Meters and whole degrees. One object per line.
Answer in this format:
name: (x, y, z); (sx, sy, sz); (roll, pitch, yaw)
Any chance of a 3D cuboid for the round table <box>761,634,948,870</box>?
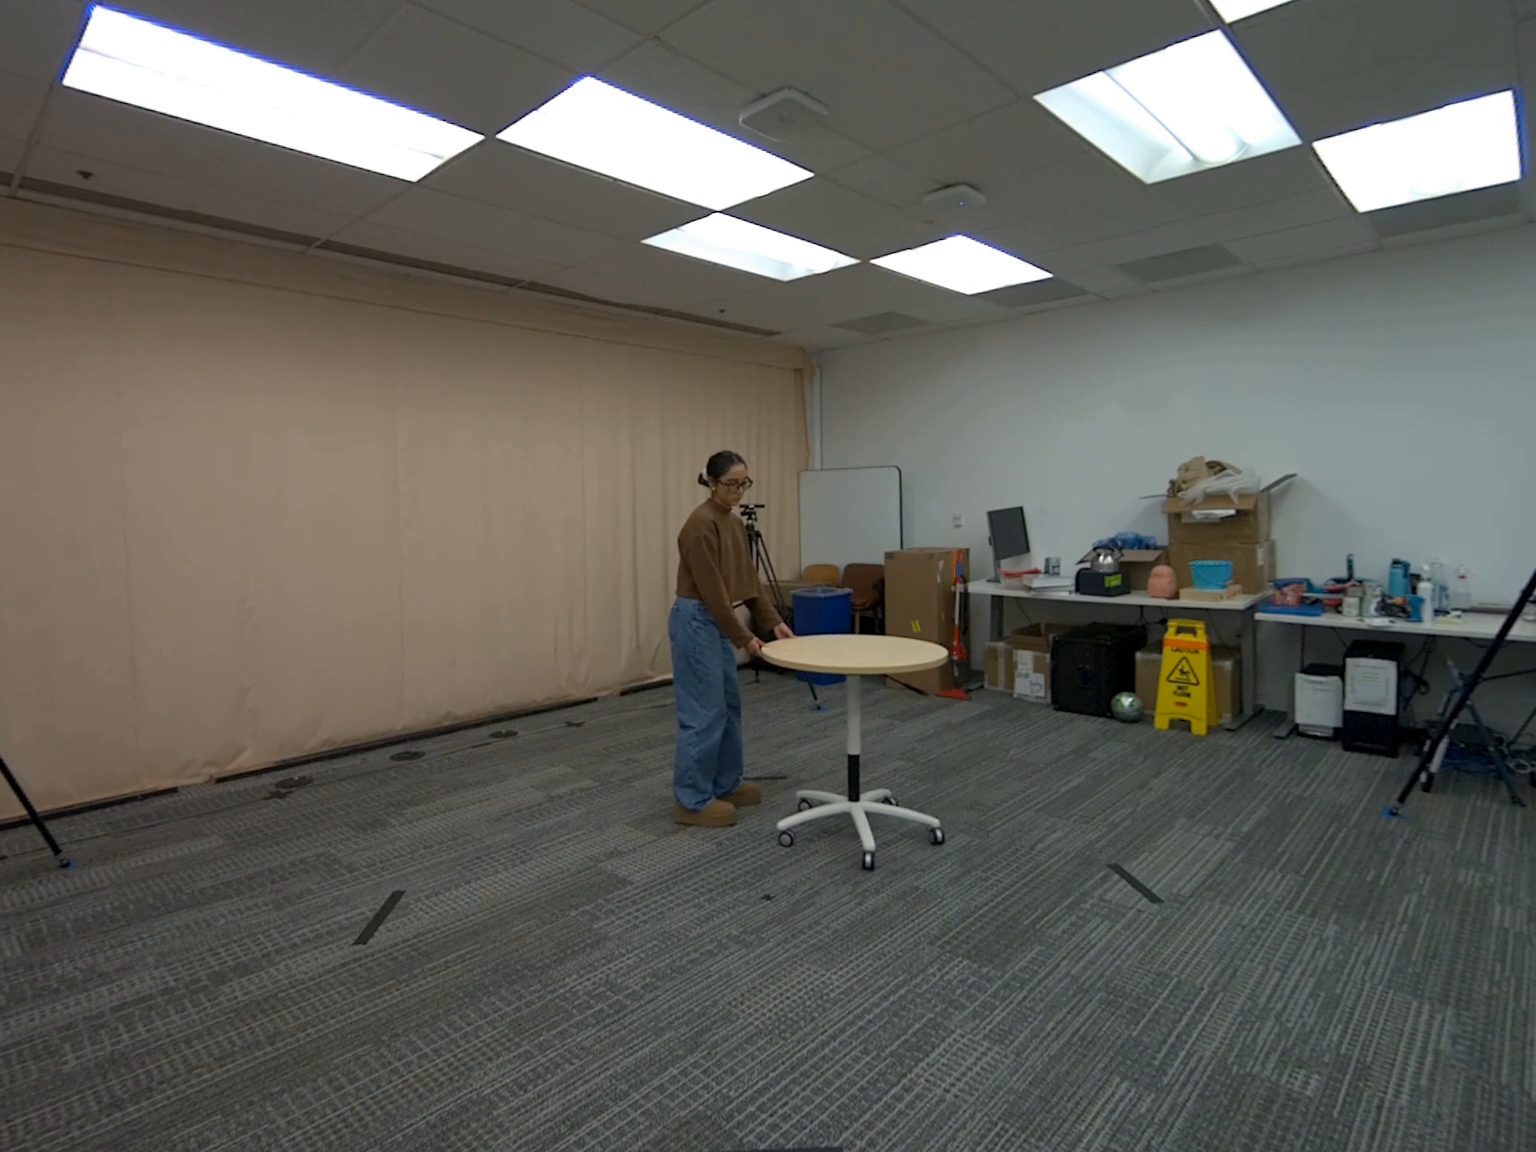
round table: (0.360, 0.699, 3.528); (0.763, 0.792, 0.766); (-1, 4, -2)
